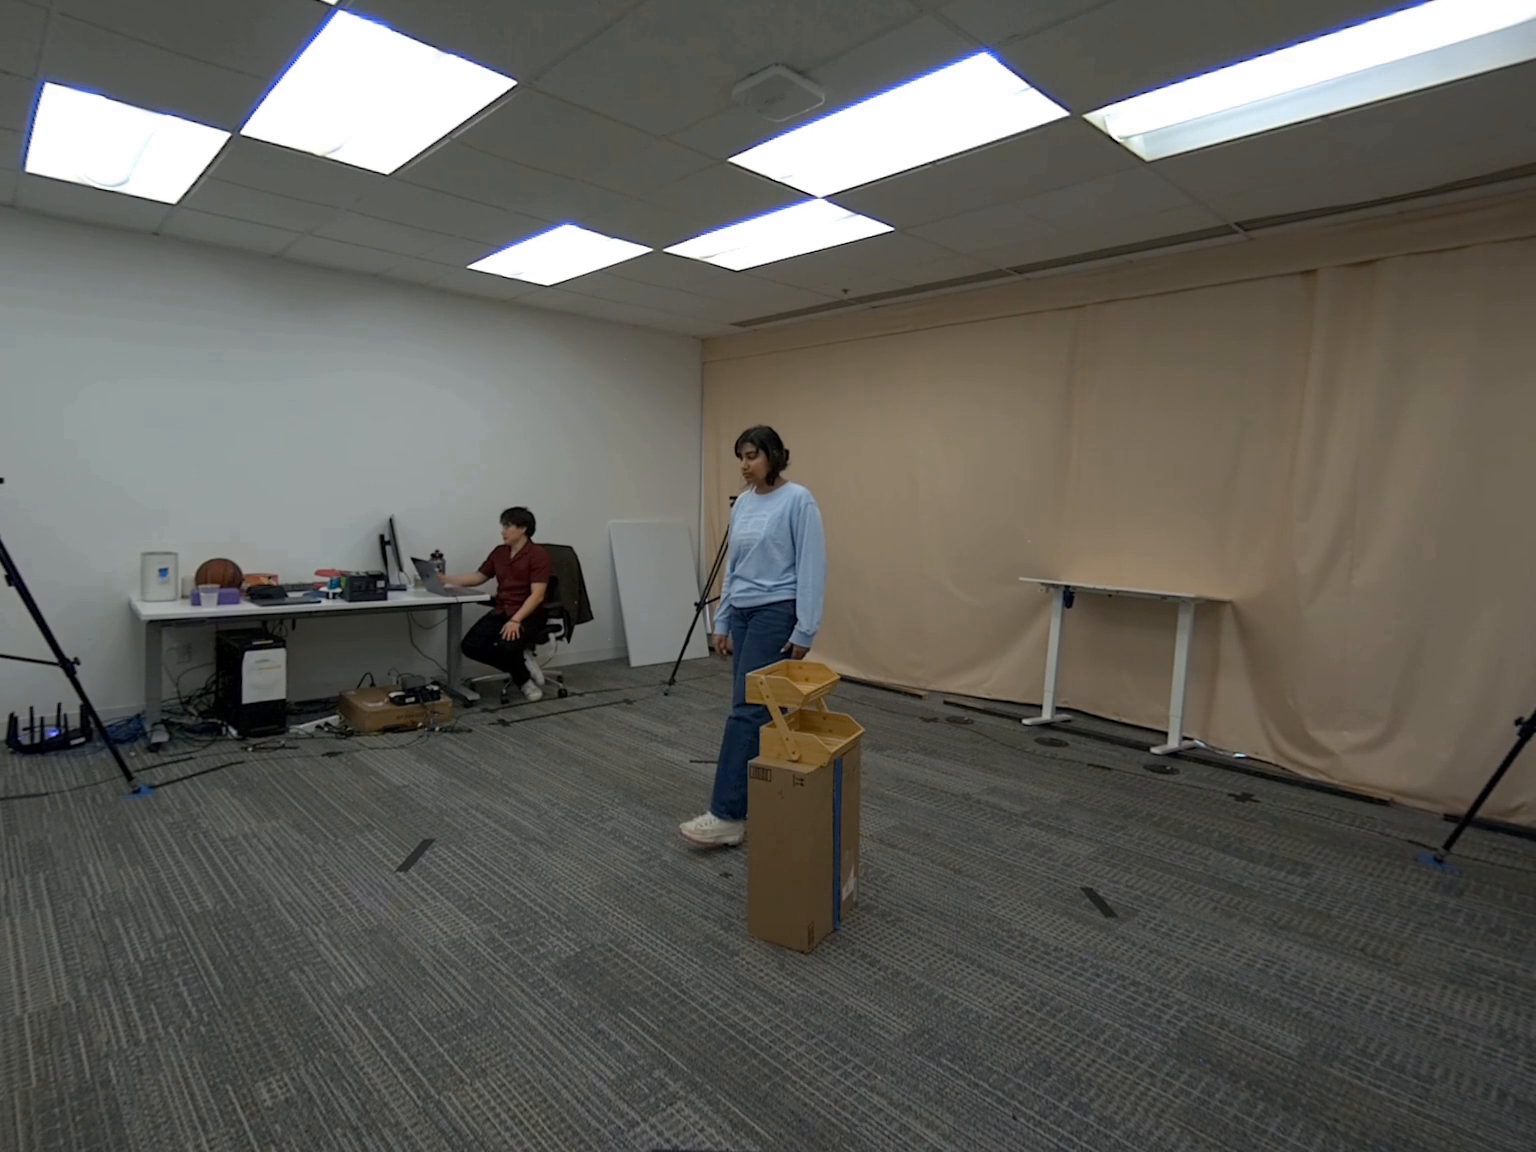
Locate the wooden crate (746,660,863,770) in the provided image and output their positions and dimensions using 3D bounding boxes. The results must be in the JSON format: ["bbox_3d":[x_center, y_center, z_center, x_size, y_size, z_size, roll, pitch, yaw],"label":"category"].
[{"bbox_3d":[0.132,0.444,2.788,0.308,0.273,0.319,2,4,27],"label":"wooden crate"}]
